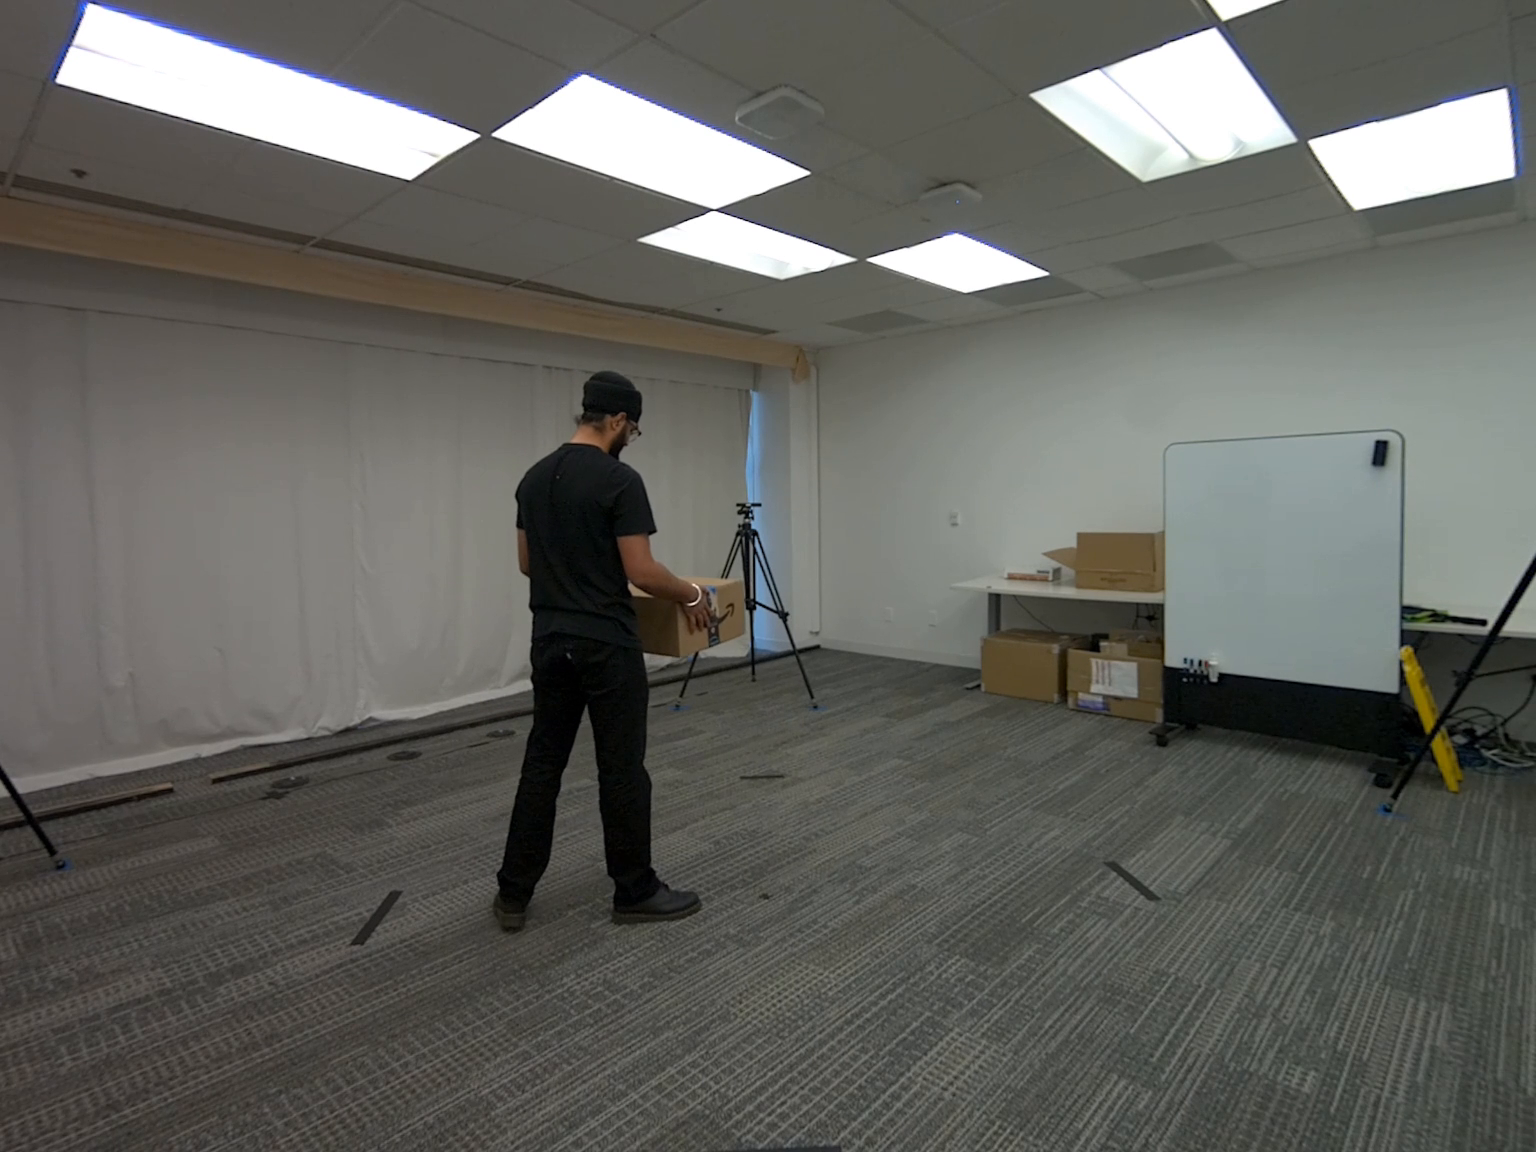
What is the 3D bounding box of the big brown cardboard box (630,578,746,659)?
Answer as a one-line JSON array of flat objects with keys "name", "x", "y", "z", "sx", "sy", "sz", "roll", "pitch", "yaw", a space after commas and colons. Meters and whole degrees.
[{"name": "big brown cardboard box", "x": -0.442, "y": 0.134, "z": 3.263, "sx": 0.607, "sy": 0.232, "sz": 0.407, "roll": 4, "pitch": 11, "yaw": 33}]
